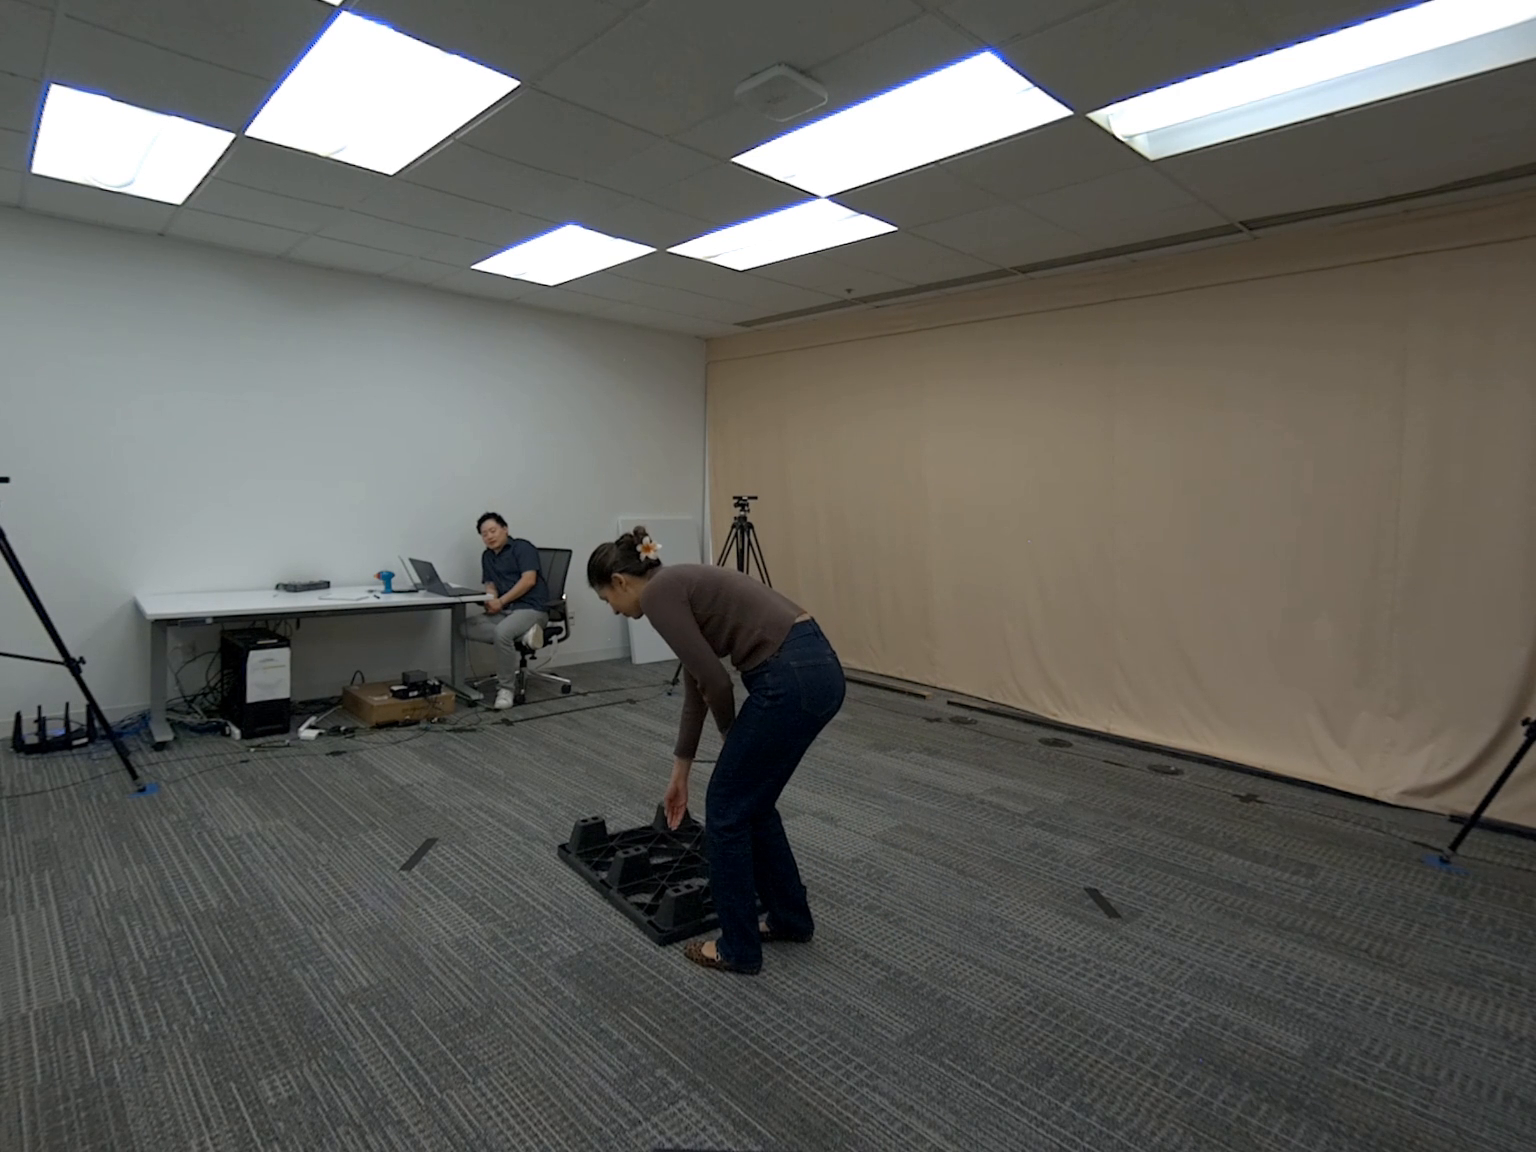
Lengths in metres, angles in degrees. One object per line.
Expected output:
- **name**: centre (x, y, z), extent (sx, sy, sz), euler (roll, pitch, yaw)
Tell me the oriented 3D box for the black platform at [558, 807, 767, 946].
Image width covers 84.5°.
- **black platform**: centre (-0.335, 1.033, 3.081), extent (0.592, 0.143, 0.826), euler (-3, 7, -37)
